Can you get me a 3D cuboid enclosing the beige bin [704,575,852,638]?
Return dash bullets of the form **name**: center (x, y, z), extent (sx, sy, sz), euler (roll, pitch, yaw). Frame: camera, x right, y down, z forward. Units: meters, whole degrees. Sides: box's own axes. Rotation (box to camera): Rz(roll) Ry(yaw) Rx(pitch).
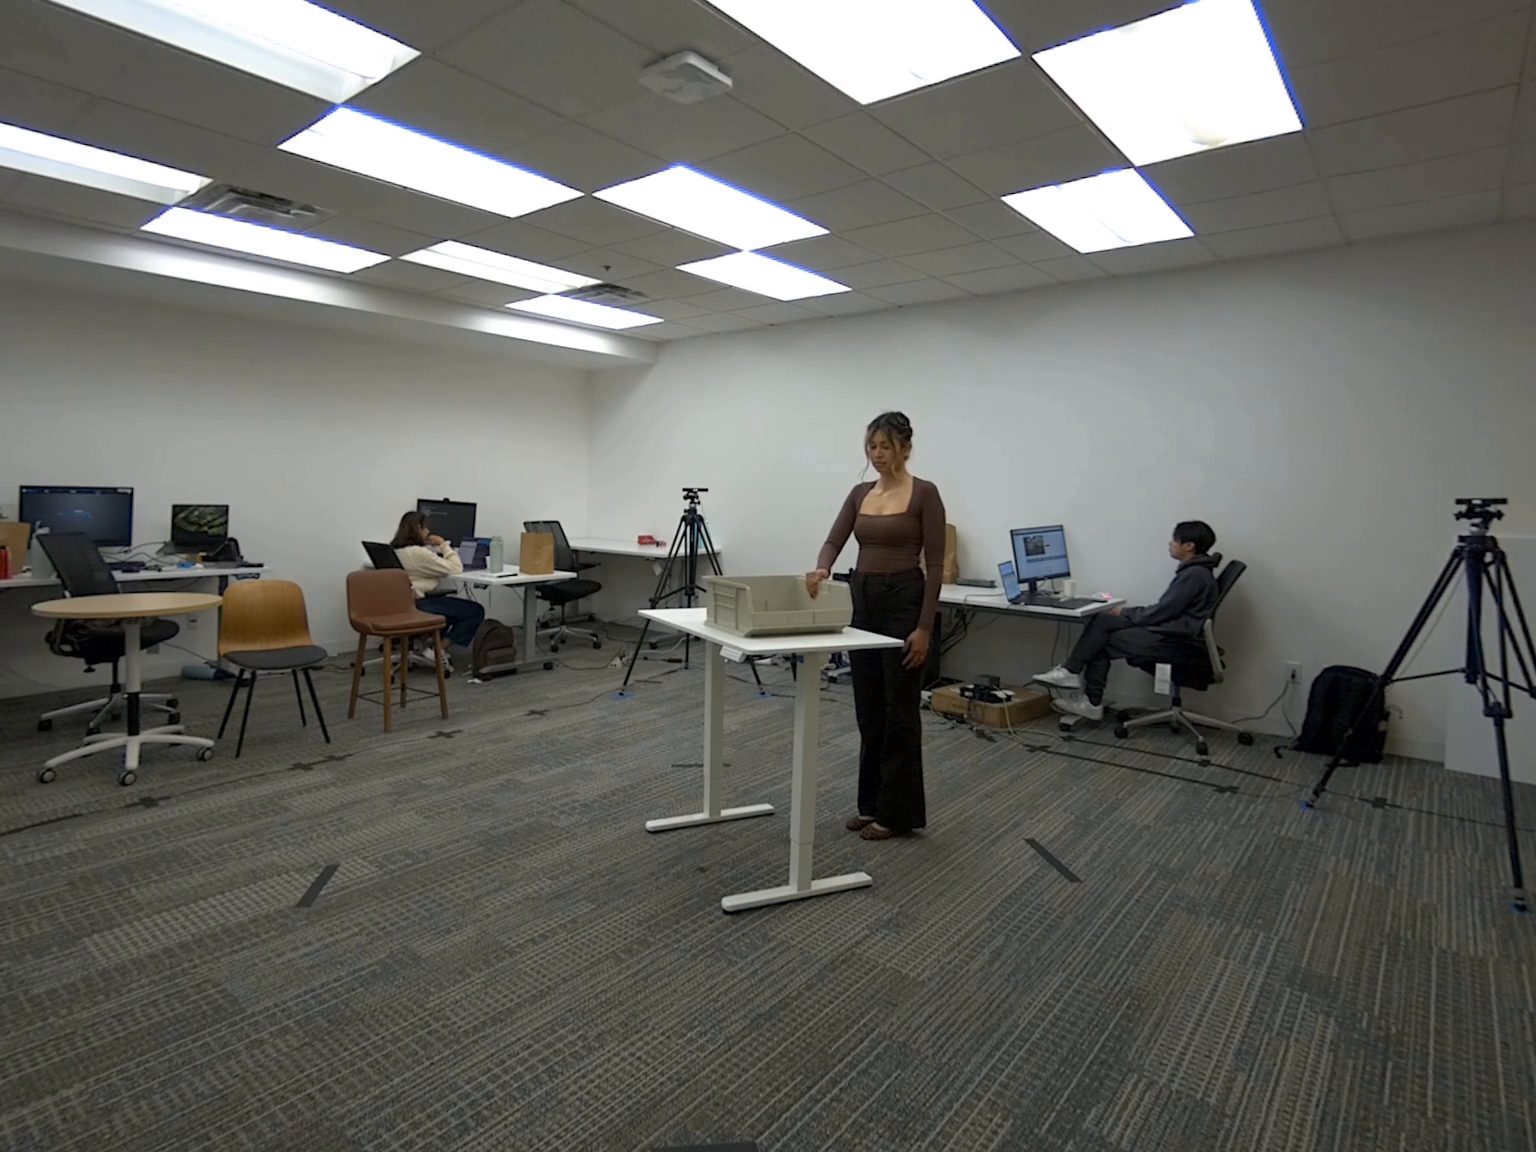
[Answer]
- **beige bin**: center (0.022, 0.103, 3.087), extent (0.411, 0.188, 0.388), euler (-2, 4, -29)
